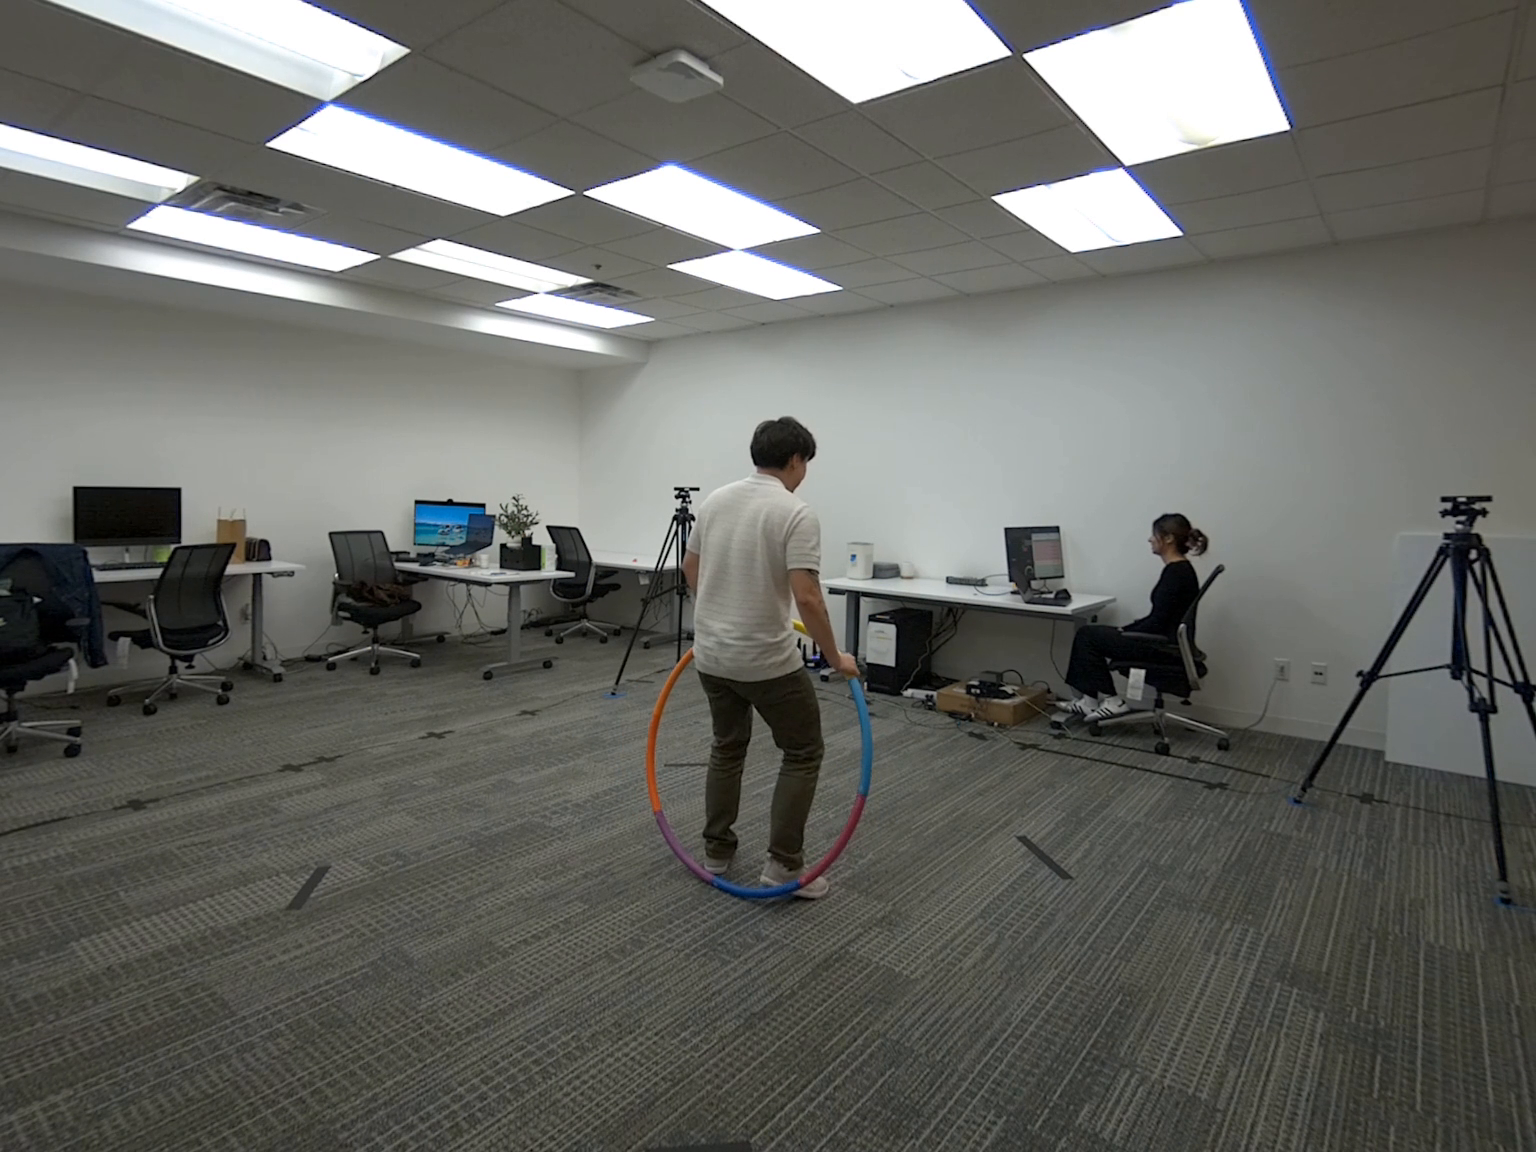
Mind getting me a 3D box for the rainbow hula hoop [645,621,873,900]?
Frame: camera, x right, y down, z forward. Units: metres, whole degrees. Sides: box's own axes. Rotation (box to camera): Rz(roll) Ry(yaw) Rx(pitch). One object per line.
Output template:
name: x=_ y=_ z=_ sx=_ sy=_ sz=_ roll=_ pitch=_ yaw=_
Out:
rainbow hula hoop: x=-0.071 y=0.614 z=3.029 sx=1.012 sy=0.986 sz=0.034 roll=4 pitch=-14 yaw=40
